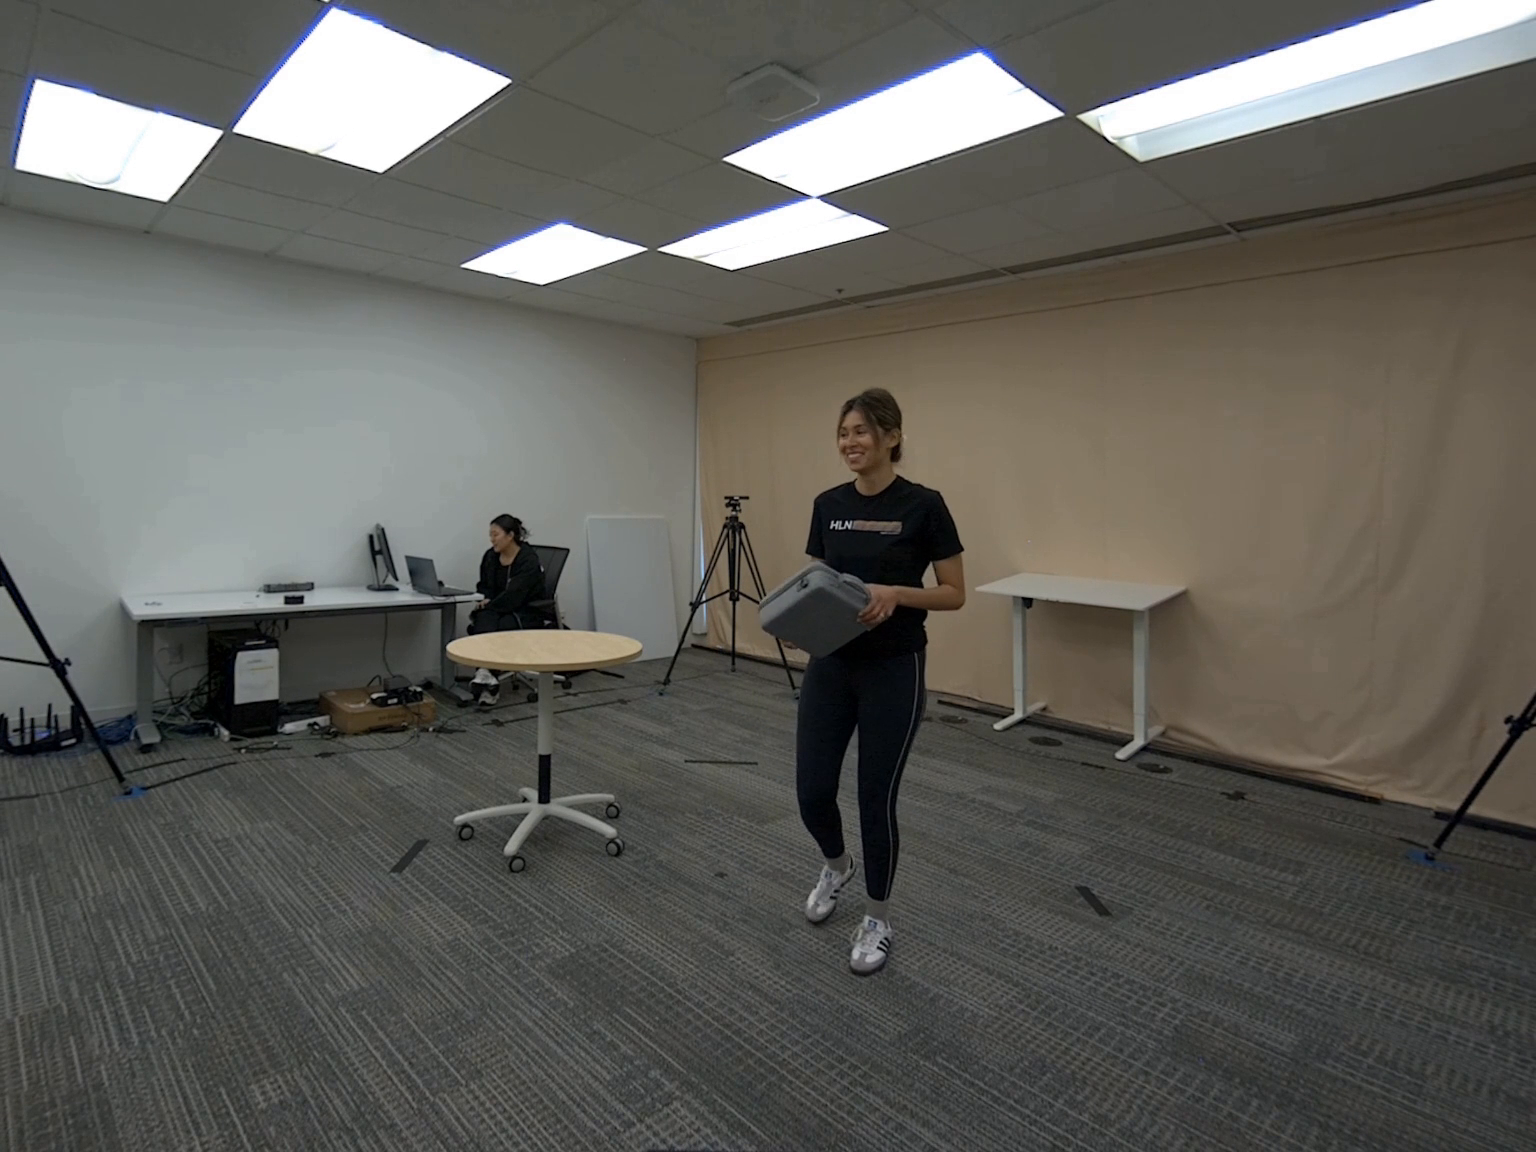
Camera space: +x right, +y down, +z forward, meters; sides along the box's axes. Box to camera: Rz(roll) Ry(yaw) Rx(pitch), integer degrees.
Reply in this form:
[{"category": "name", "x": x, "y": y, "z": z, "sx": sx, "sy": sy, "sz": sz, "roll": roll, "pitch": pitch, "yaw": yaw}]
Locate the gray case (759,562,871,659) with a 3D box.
[{"category": "gray case", "x": 0.132, "y": 0.094, "z": 2.342, "sx": 0.251, "sy": 0.106, "sz": 0.261, "roll": 27, "pitch": -48, "yaw": -27}]
